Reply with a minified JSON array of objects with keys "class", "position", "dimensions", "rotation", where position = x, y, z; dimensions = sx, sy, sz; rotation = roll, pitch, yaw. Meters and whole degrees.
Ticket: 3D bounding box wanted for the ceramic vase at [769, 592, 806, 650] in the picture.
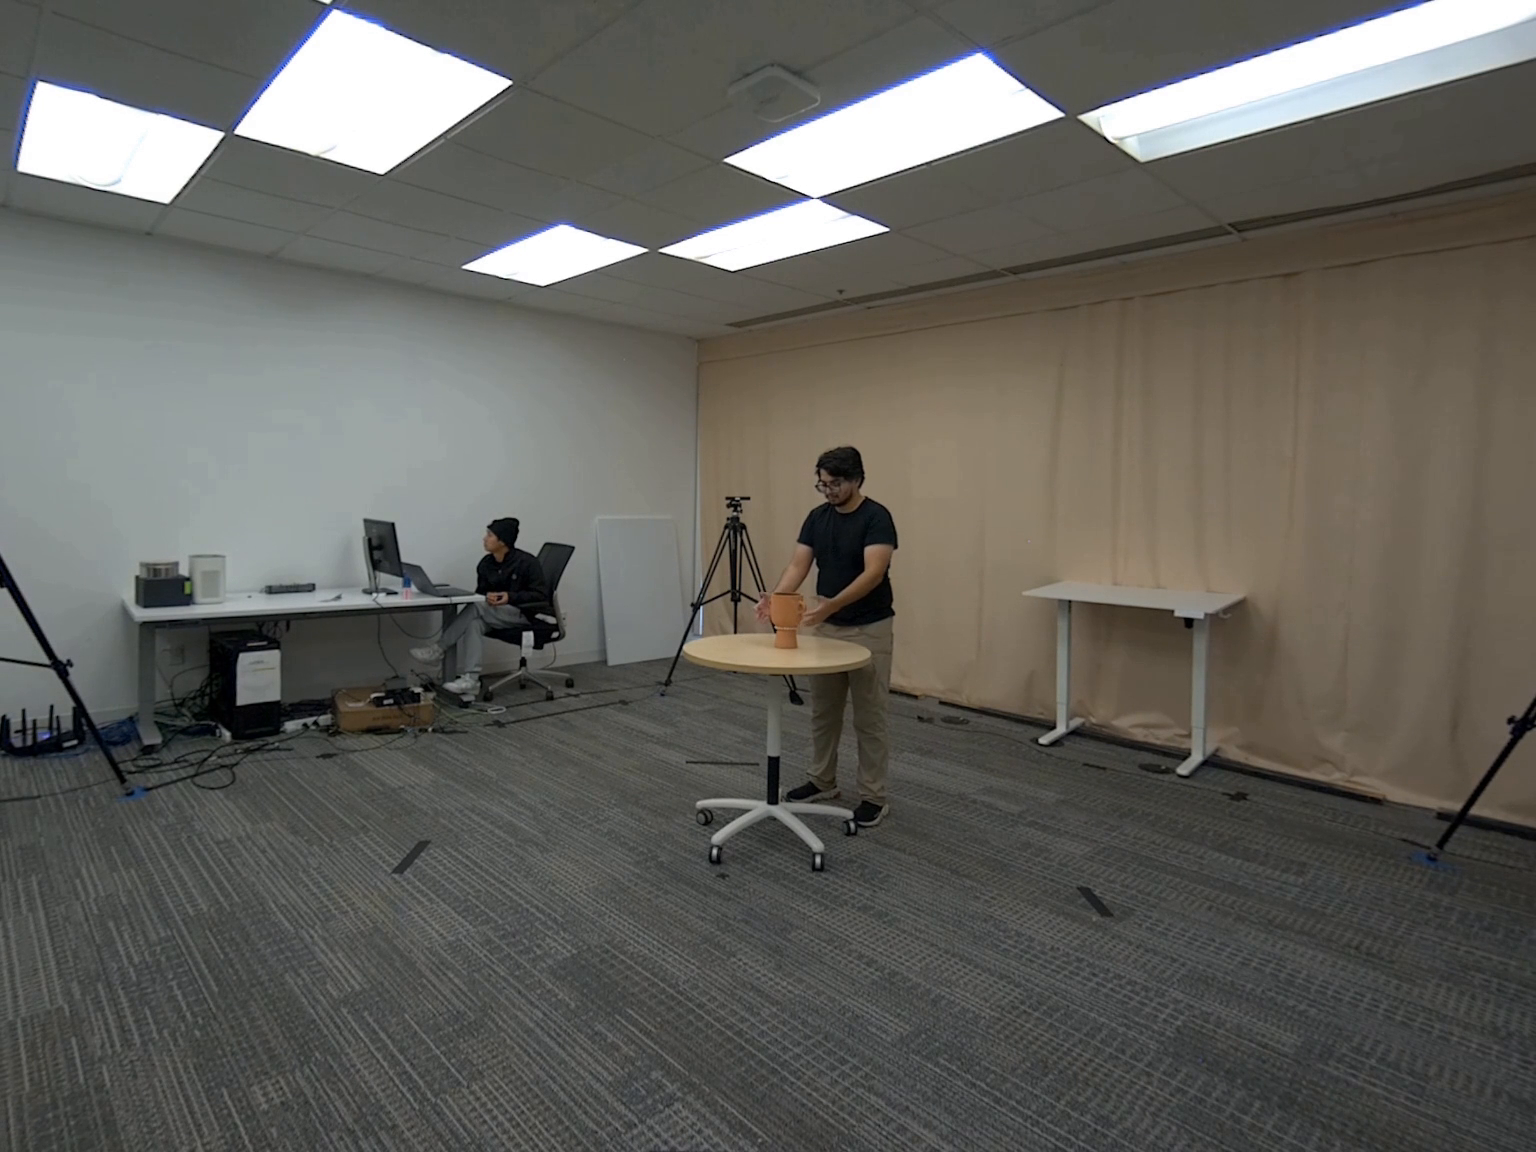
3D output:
[{"class":"ceramic vase","position":[0.069,0.188,3.493],"dimensions":[0.133,0.219,0.161],"rotation":[2,3,-14]}]
